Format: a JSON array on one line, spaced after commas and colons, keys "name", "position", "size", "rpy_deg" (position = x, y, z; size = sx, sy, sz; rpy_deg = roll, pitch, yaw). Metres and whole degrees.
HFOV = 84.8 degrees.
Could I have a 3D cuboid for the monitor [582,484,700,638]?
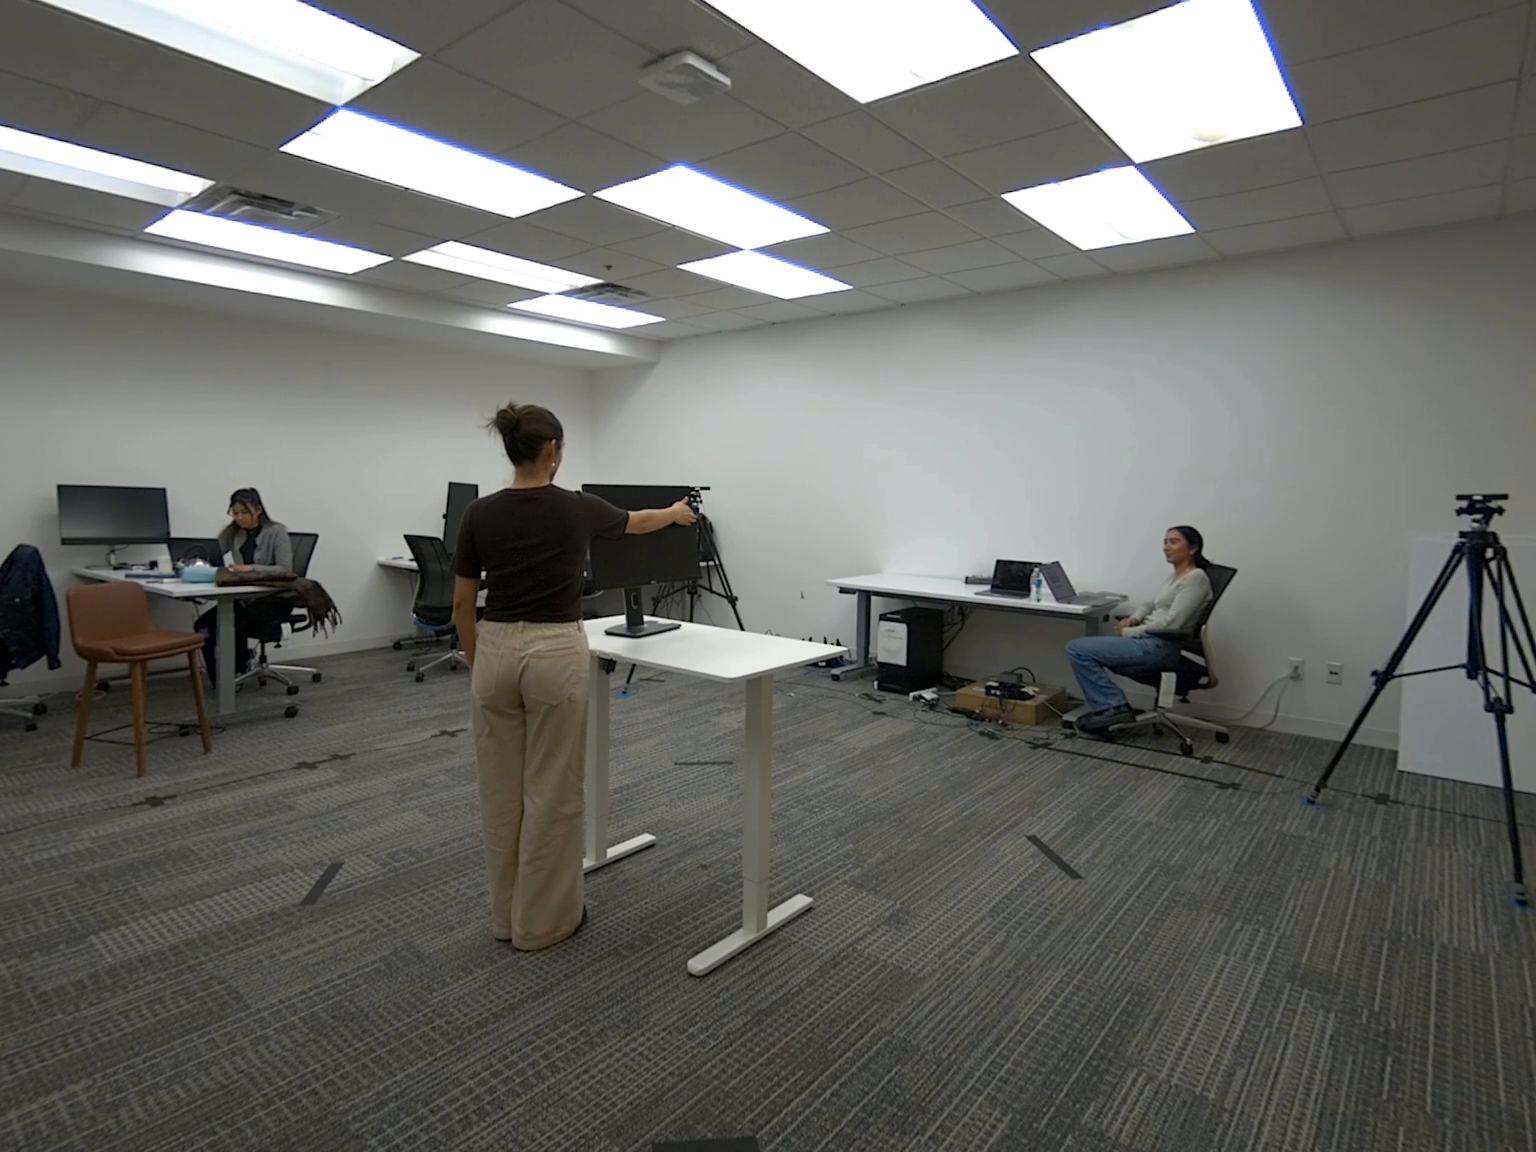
[{"name": "monitor", "position": [-0.456, -0.059, 2.980], "size": [0.193, 0.521, 0.524], "rpy_deg": [4, 5, 36]}]
